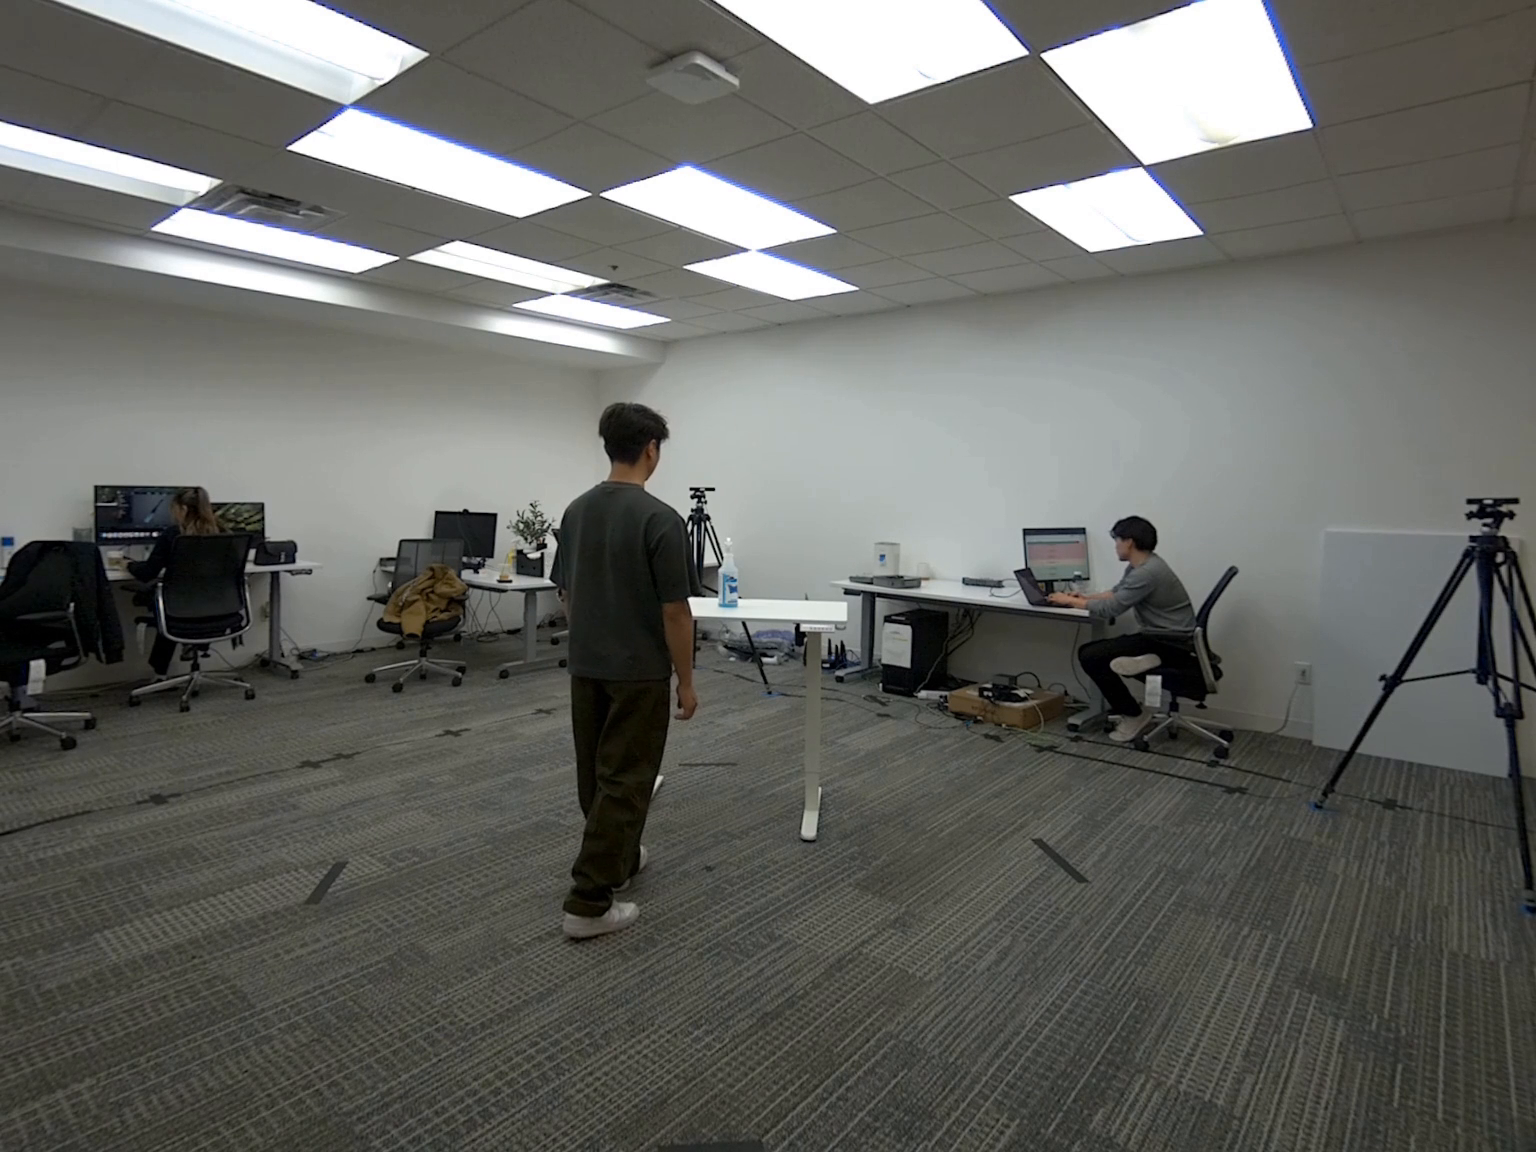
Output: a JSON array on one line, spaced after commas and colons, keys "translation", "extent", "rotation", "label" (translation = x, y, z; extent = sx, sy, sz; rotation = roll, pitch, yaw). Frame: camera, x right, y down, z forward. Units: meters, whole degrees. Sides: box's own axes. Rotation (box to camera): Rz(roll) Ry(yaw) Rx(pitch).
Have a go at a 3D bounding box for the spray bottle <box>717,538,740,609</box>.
[{"translation": [-0.184, -0.019, 3.685], "extent": [0.089, 0.296, 0.088], "rotation": [2, 3, 22], "label": "spray bottle"}]
